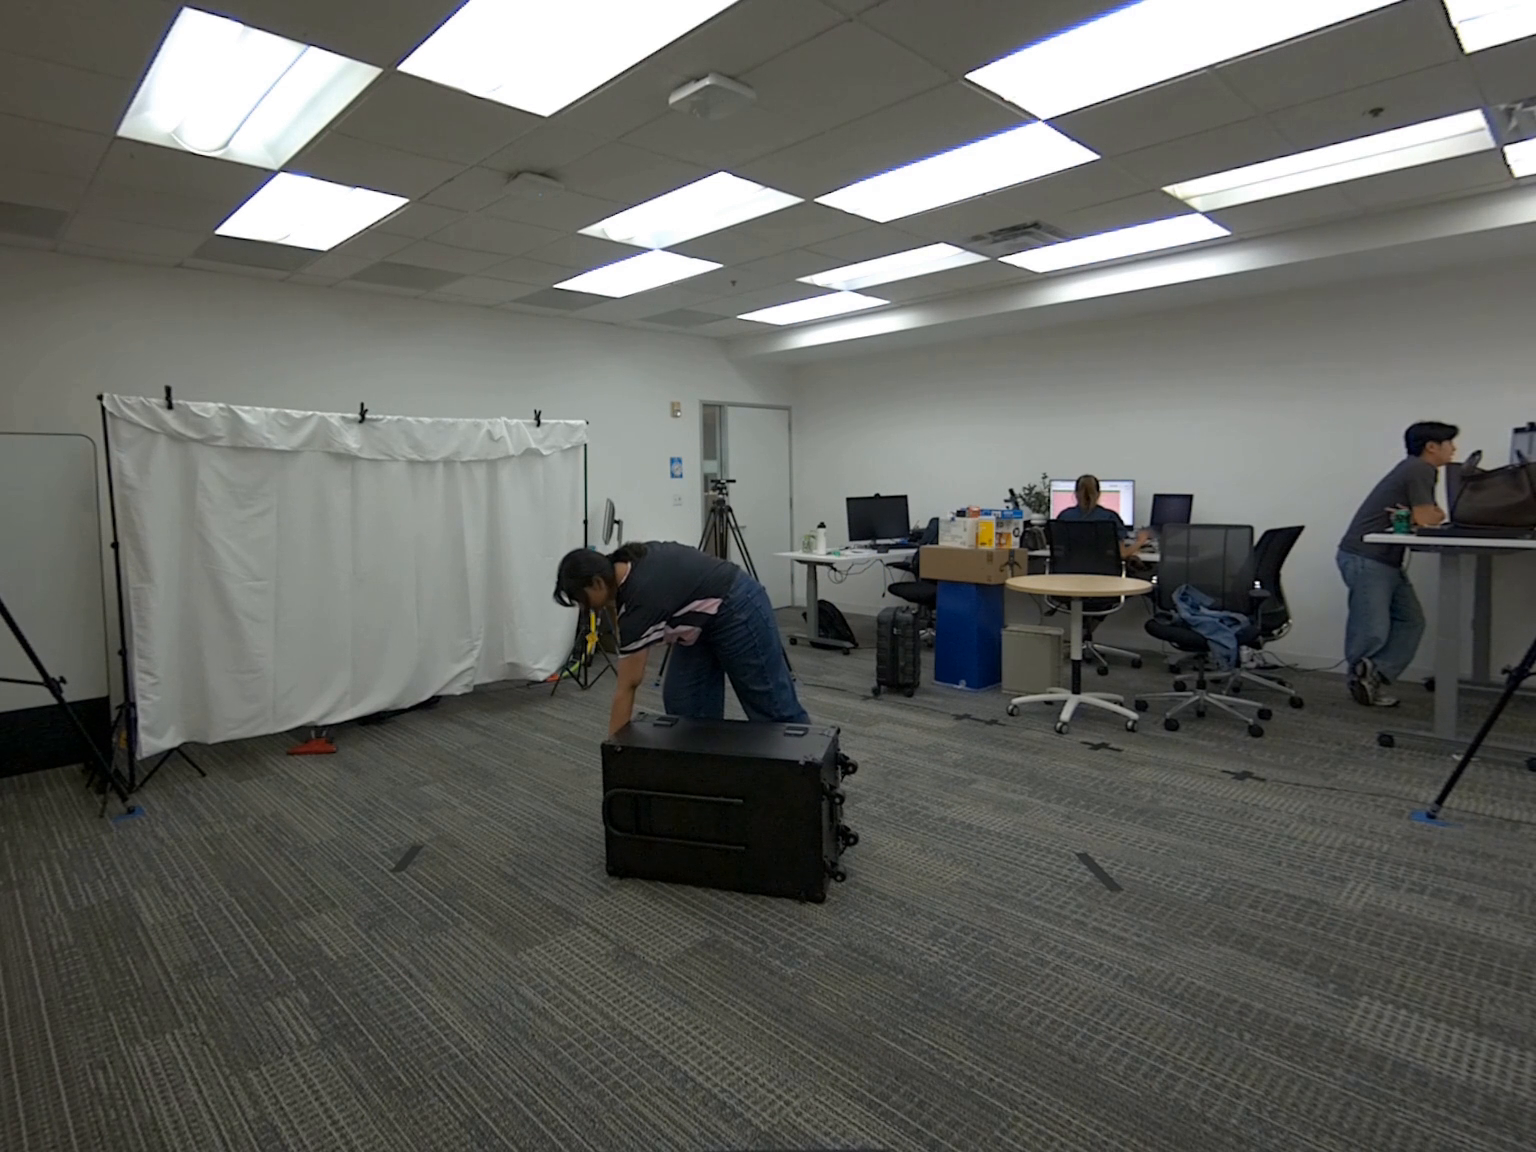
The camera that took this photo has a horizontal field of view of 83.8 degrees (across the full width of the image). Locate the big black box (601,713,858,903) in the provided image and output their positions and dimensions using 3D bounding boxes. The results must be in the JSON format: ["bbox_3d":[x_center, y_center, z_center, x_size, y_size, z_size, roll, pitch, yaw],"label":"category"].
[{"bbox_3d":[-0.122,0.798,3.045,0.883,0.521,0.380,1,5,17],"label":"big black box"}]
